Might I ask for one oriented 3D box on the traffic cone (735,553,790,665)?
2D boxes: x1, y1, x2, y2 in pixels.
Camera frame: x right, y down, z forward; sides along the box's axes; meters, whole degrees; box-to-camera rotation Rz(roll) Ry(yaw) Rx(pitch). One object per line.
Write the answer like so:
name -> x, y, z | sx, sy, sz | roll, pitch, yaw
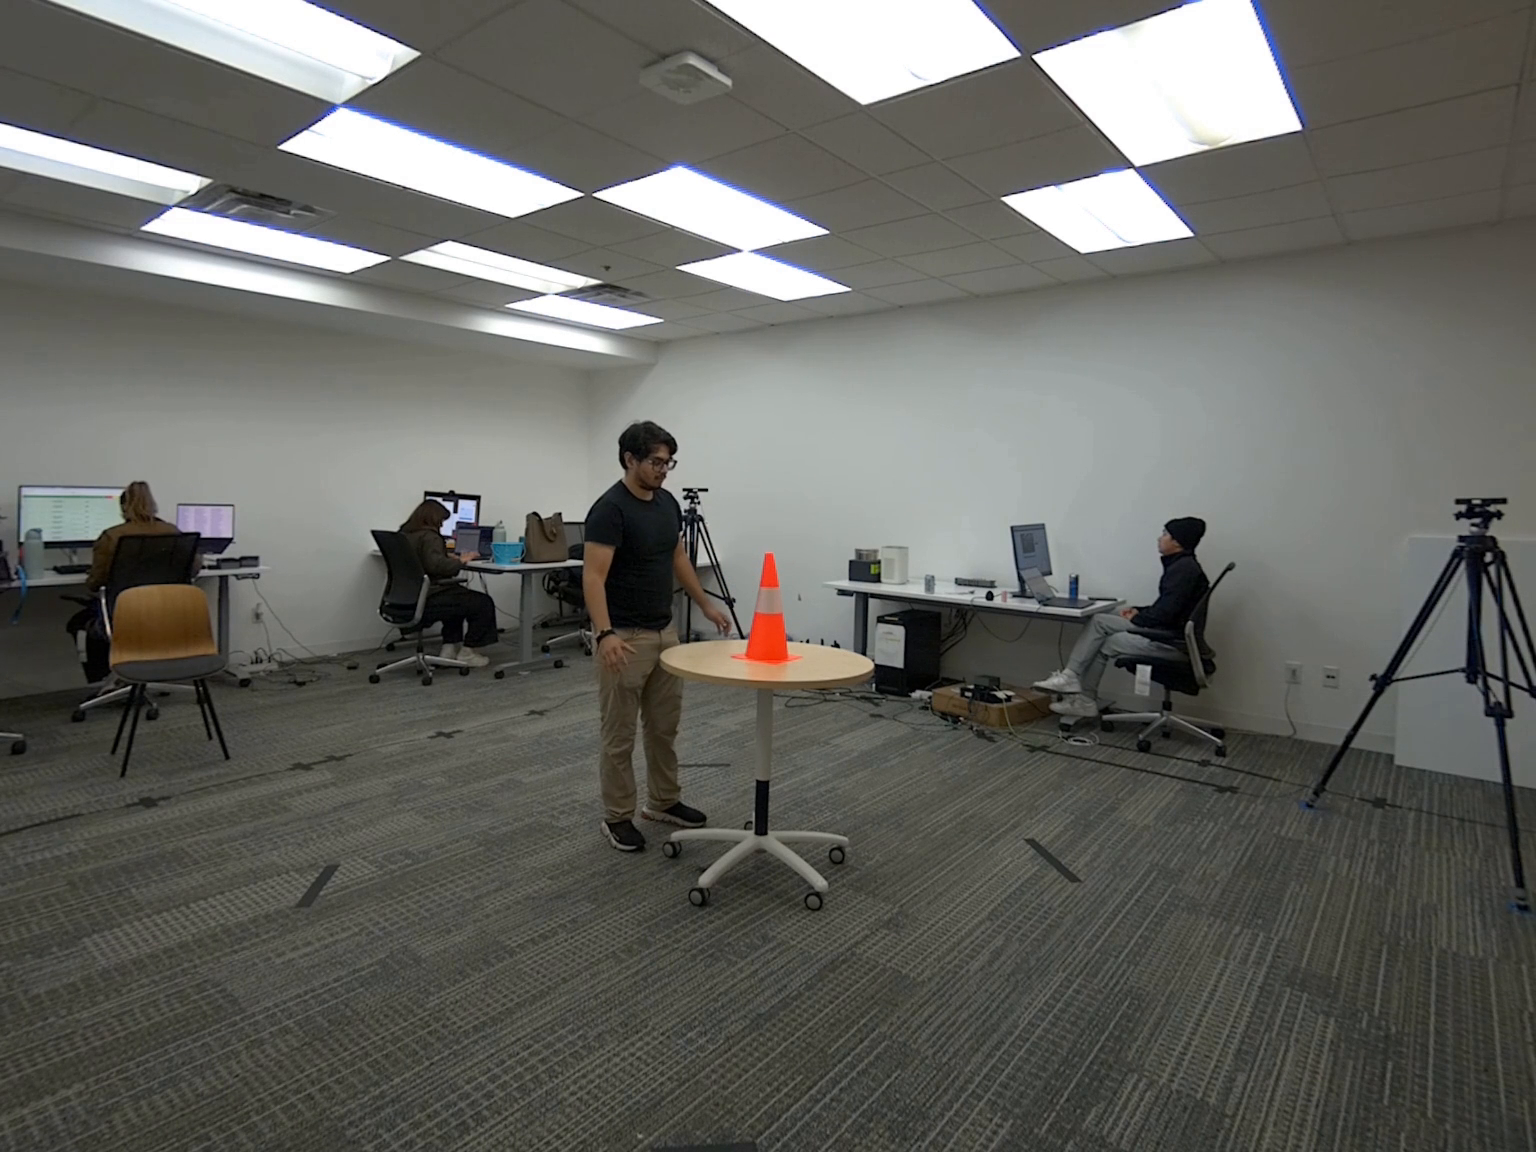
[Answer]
traffic cone -> -0.001, 0.108, 3.073 | 0.211, 0.382, 0.198 | 5, 6, 33
